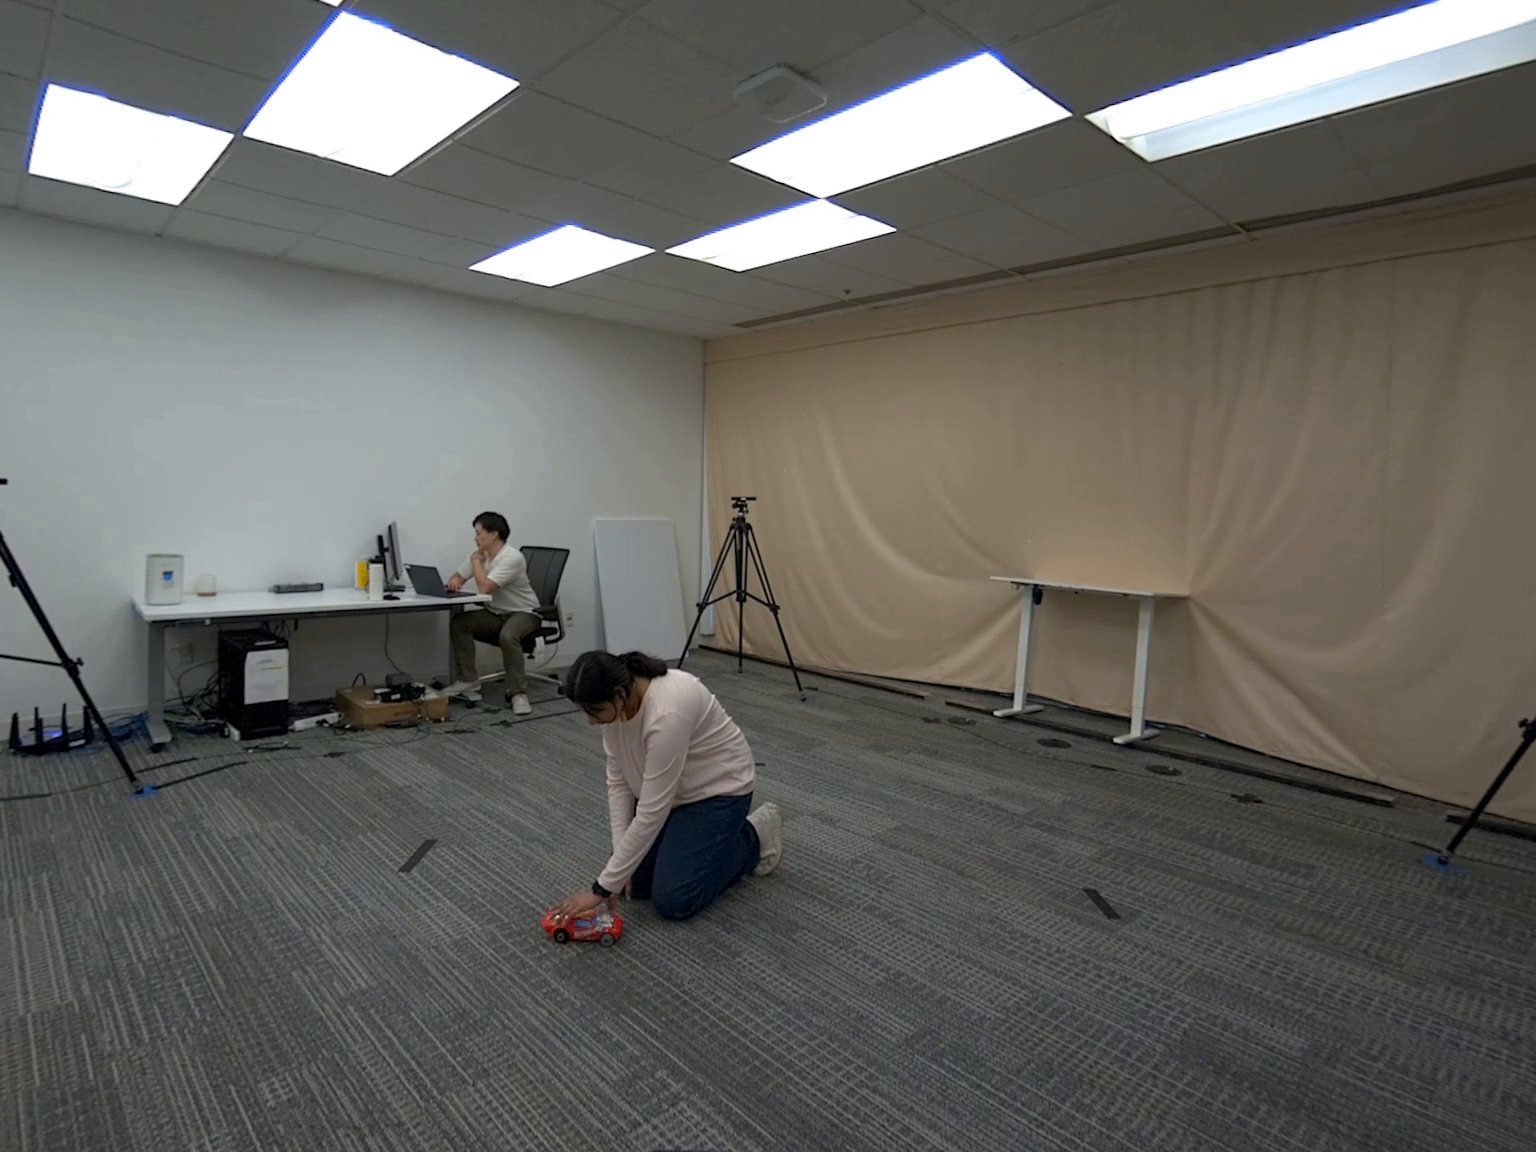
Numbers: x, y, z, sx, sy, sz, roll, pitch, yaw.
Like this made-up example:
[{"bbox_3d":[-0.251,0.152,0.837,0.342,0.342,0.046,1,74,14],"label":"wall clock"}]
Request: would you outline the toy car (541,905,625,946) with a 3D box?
[{"bbox_3d":[-0.597,1.106,2.654,0.256,0.083,0.130,15,7,5],"label":"toy car"}]
